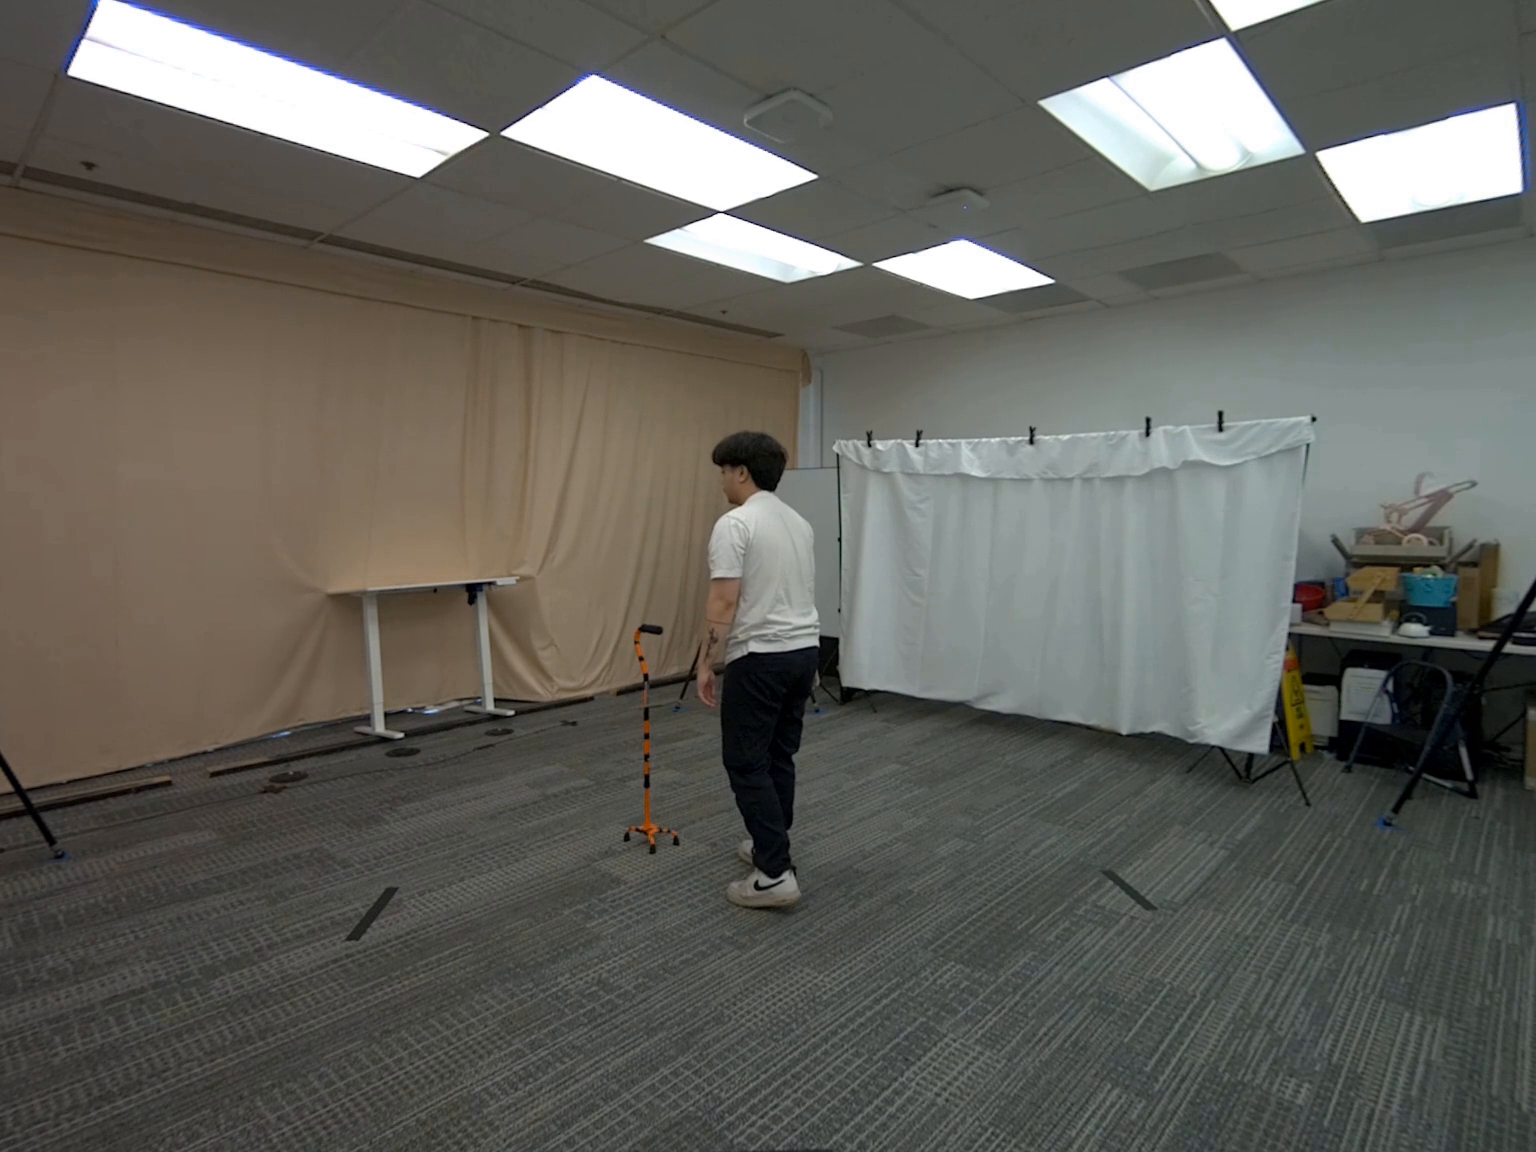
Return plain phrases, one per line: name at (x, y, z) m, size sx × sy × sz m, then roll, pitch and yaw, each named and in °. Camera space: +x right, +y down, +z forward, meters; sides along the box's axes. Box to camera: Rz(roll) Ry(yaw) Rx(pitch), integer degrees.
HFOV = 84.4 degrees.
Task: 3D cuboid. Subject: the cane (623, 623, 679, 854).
cane at (-0.491, 0.655, 3.472) m, size 0.213 × 0.906 × 0.147 m, roll 1°, pitch 4°, yaw 45°
